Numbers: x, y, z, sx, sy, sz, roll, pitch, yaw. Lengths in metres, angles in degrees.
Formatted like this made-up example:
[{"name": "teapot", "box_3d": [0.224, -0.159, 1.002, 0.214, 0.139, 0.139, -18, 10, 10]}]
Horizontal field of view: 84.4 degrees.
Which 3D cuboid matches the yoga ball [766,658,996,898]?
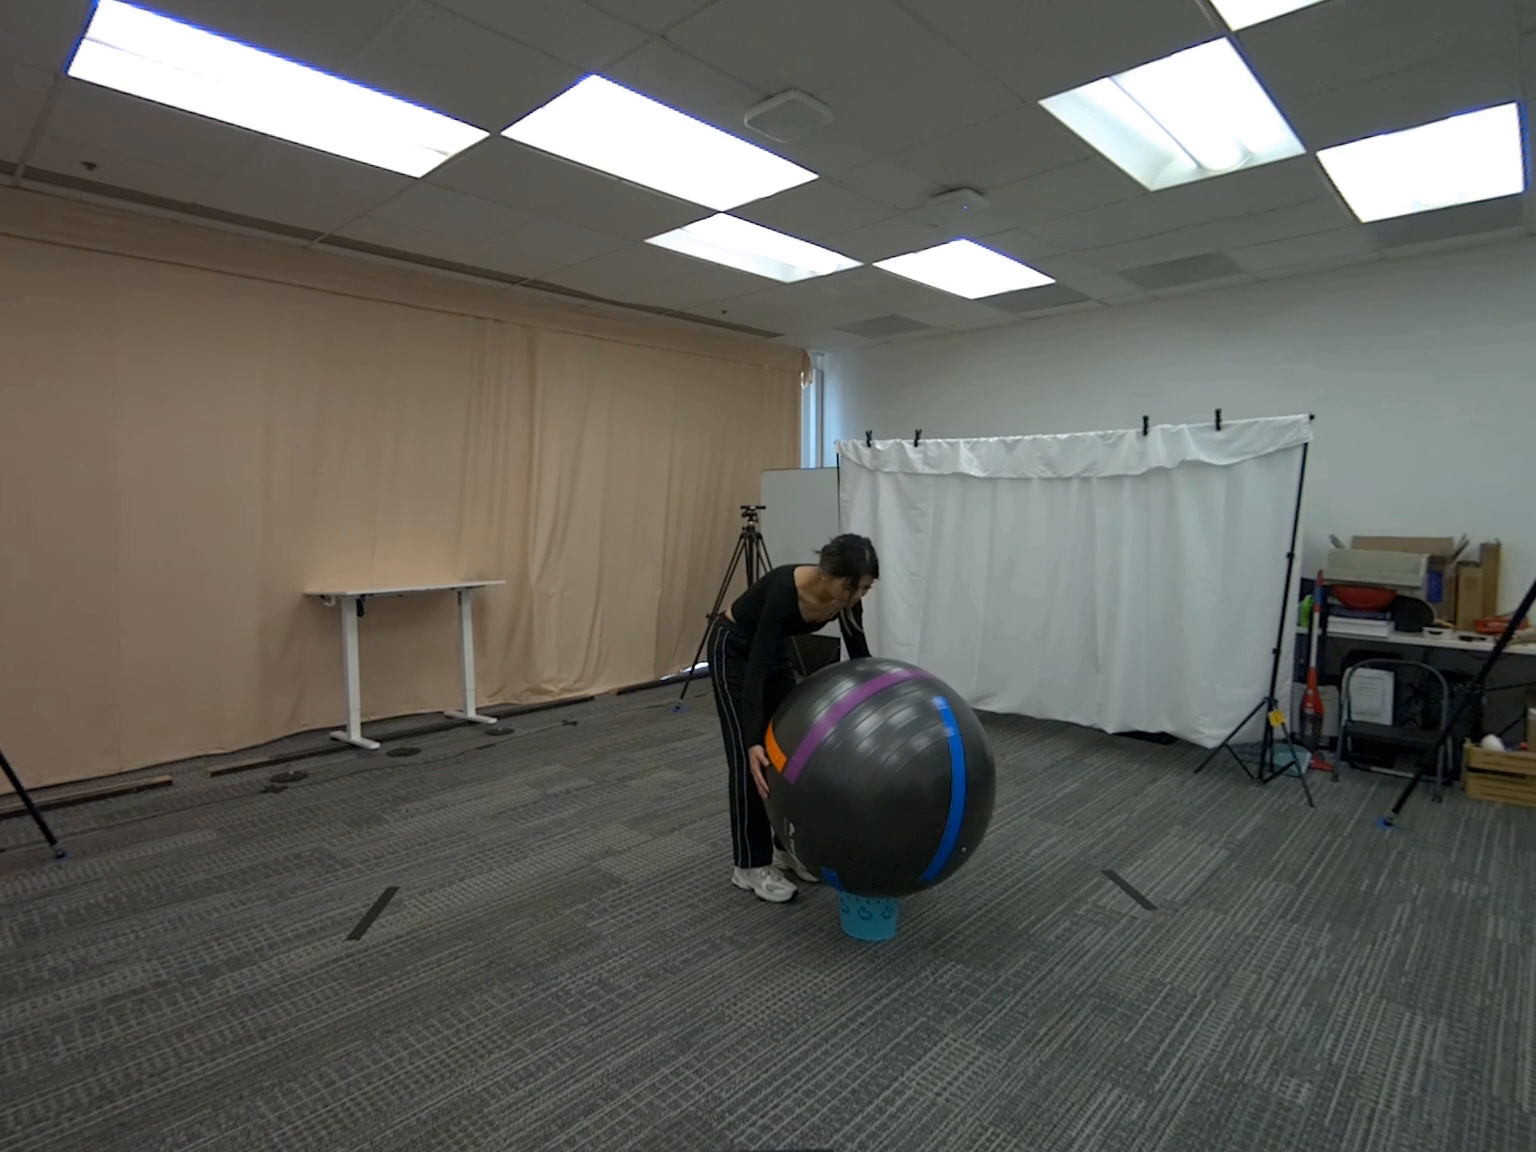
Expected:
[{"name": "yoga ball", "box_3d": [0.362, 0.655, 2.757, 0.757, 0.756, 0.760, 0, 4, -2]}]
